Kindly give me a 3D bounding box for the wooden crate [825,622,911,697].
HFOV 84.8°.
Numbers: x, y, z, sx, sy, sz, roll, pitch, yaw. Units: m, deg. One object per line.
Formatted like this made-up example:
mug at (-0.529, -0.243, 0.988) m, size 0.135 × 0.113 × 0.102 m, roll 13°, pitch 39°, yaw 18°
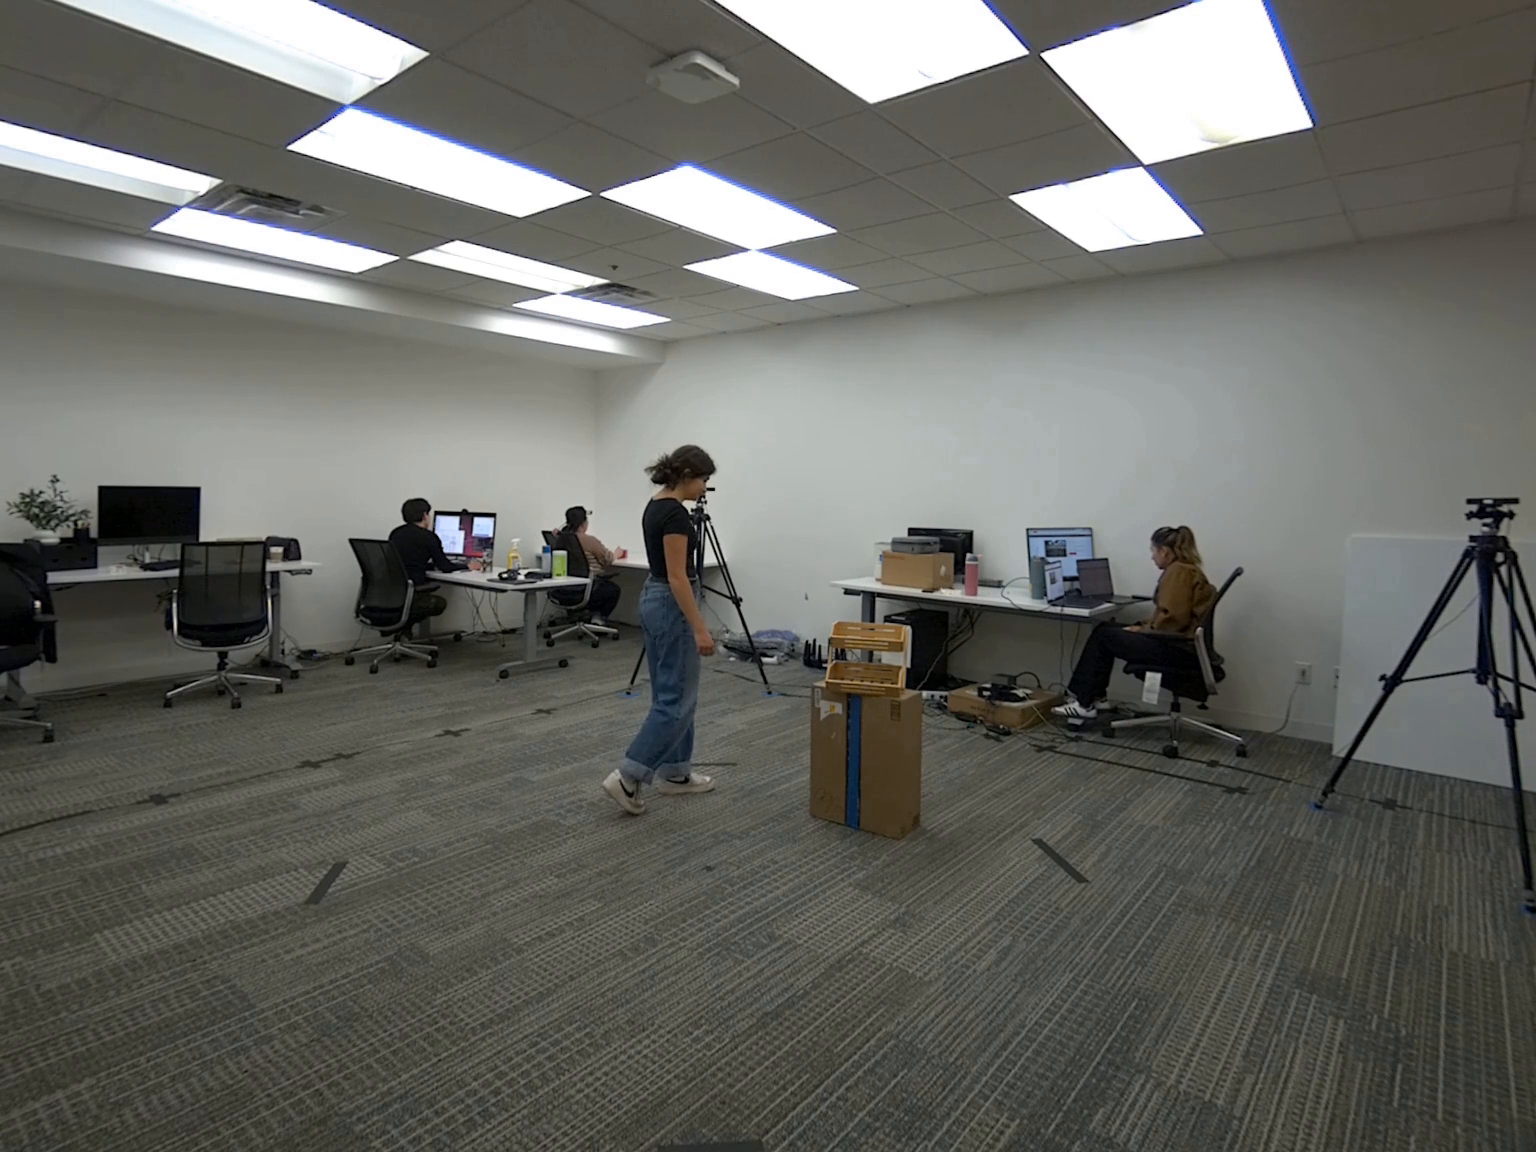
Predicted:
wooden crate at (0.410, 0.334, 3.561) m, size 0.330 × 0.273 × 0.297 m, roll 2°, pitch 2°, yaw 14°
